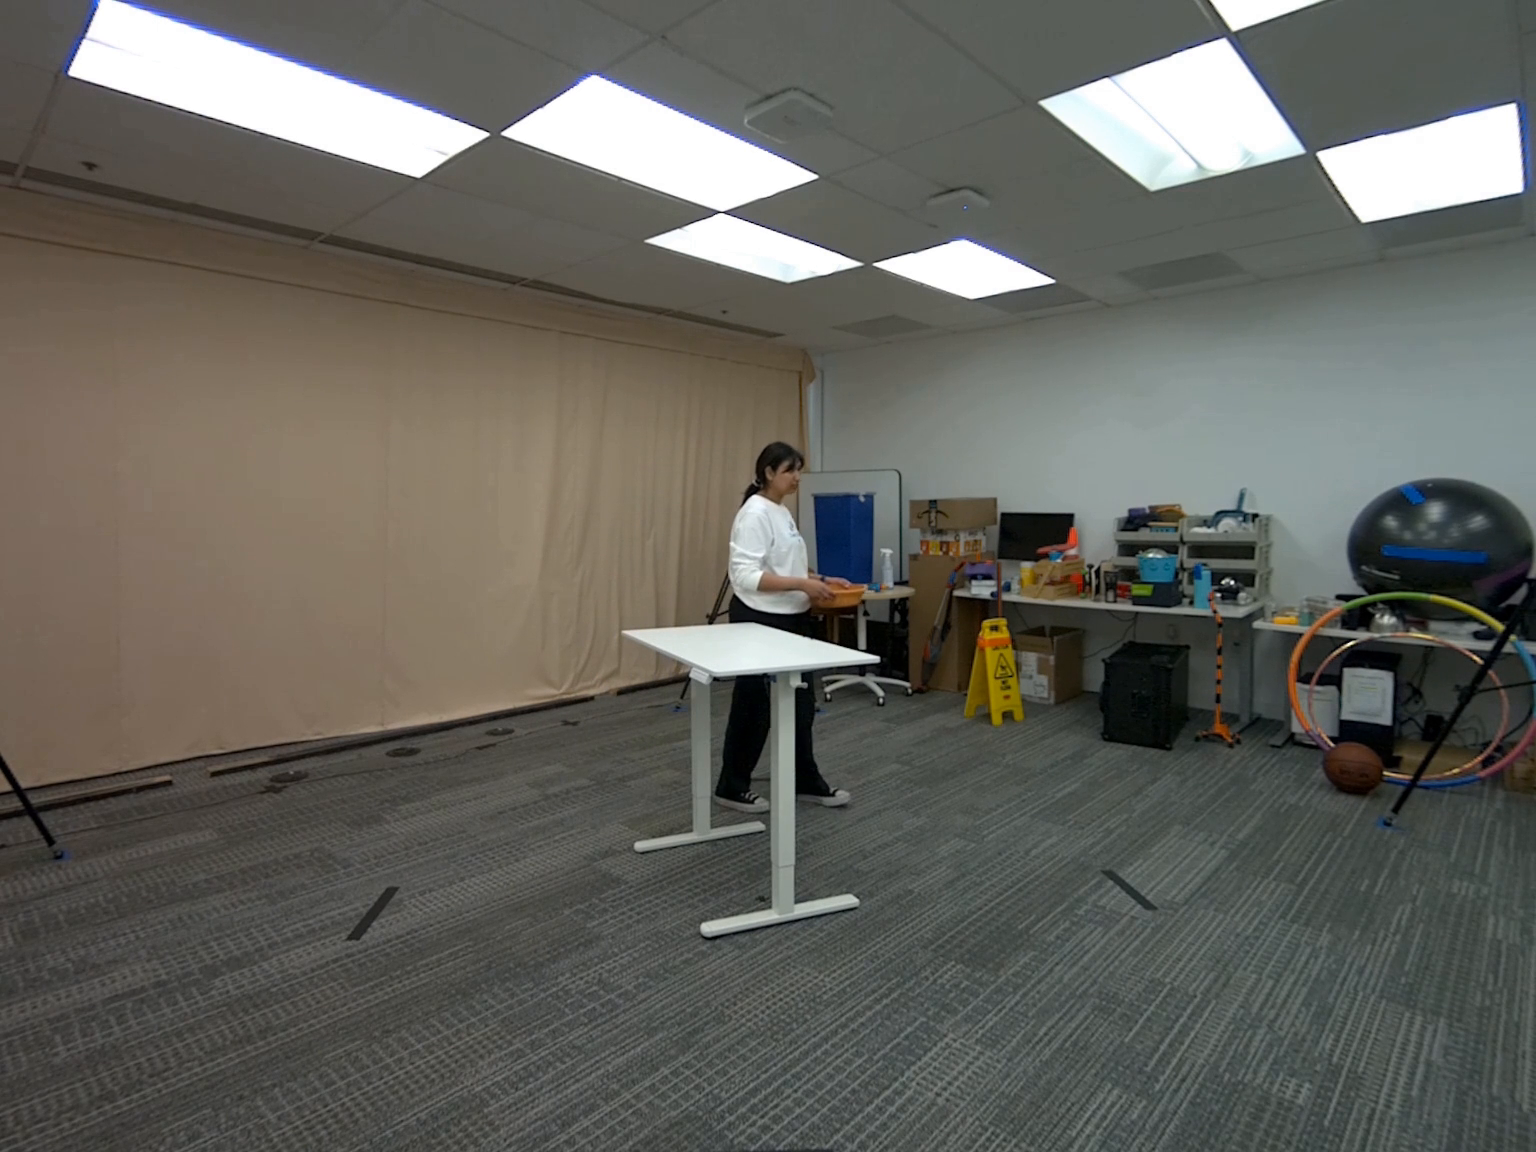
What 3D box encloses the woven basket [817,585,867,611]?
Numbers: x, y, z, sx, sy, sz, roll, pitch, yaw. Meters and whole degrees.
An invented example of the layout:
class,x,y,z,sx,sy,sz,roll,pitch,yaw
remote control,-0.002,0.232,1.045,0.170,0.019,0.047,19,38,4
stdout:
class,x,y,z,sx,sy,sz,roll,pitch,yaw
woven basket,0.291,0.088,3.850,0.255,0.073,0.348,1,7,10
